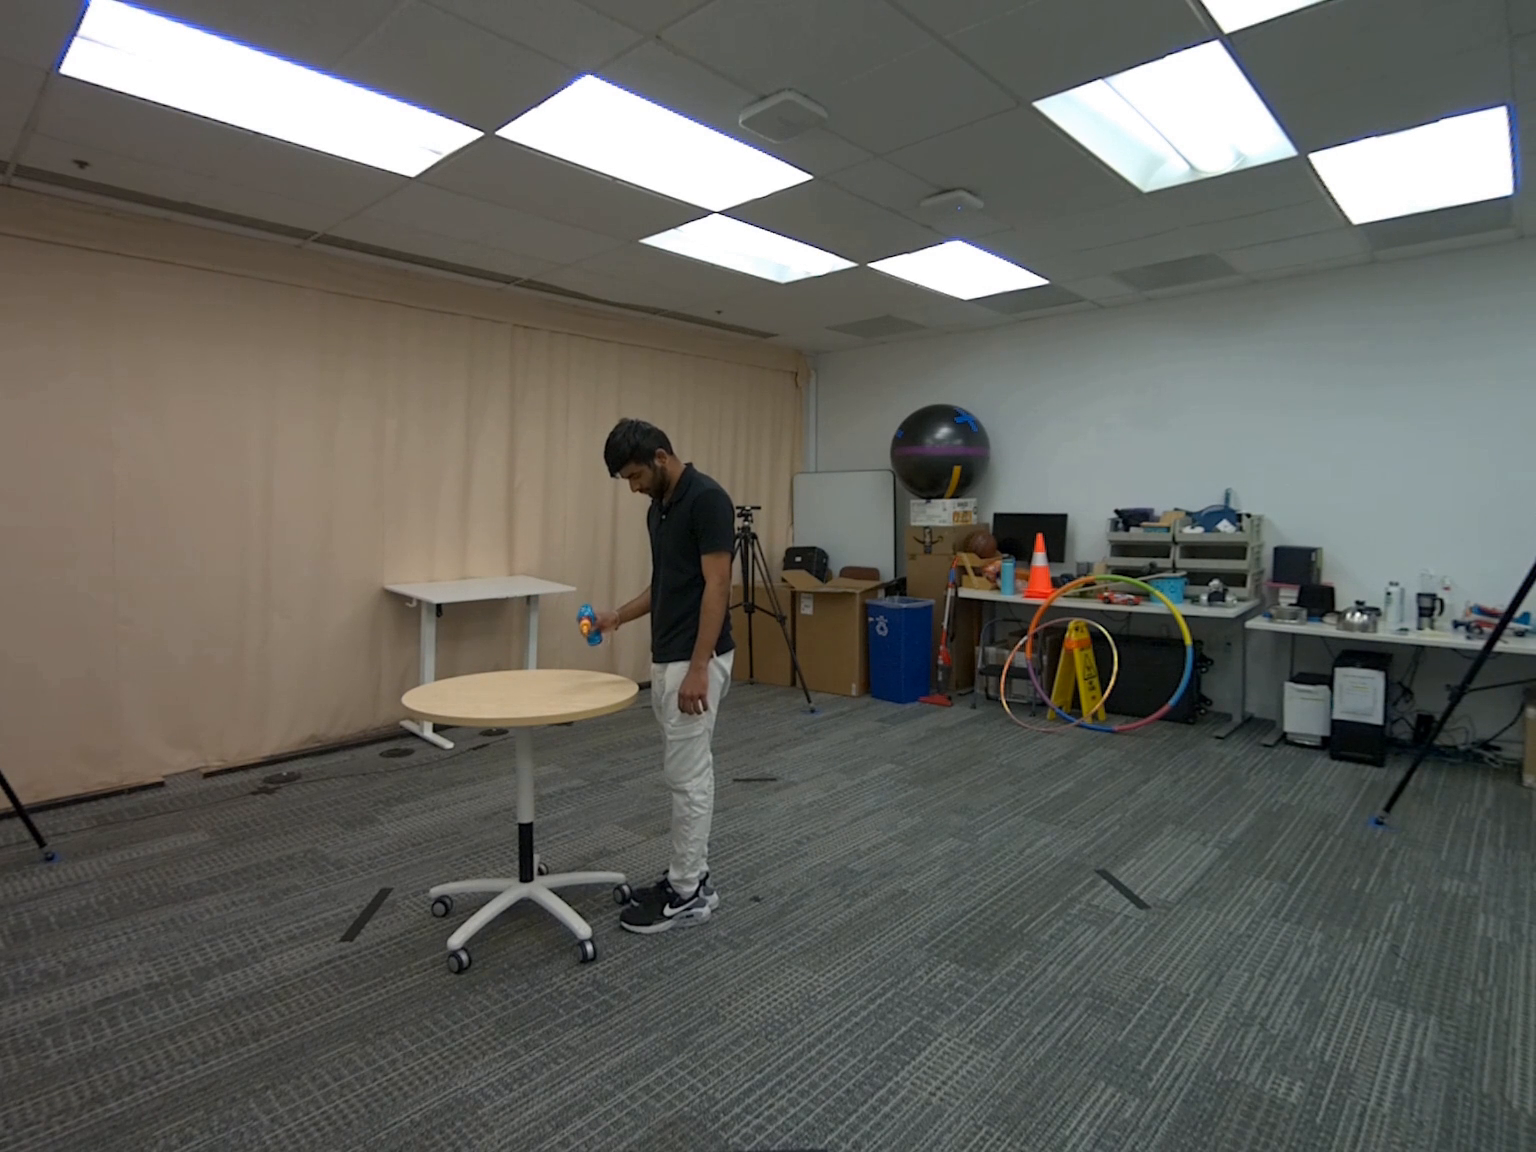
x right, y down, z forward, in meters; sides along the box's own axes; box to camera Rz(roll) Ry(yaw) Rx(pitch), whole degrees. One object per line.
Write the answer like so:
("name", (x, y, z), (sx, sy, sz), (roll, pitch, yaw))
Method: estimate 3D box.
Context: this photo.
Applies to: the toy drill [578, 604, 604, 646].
("toy drill", (-0.601, 0.183, 2.871), (0.061, 0.143, 0.172), (-12, 27, 3))
